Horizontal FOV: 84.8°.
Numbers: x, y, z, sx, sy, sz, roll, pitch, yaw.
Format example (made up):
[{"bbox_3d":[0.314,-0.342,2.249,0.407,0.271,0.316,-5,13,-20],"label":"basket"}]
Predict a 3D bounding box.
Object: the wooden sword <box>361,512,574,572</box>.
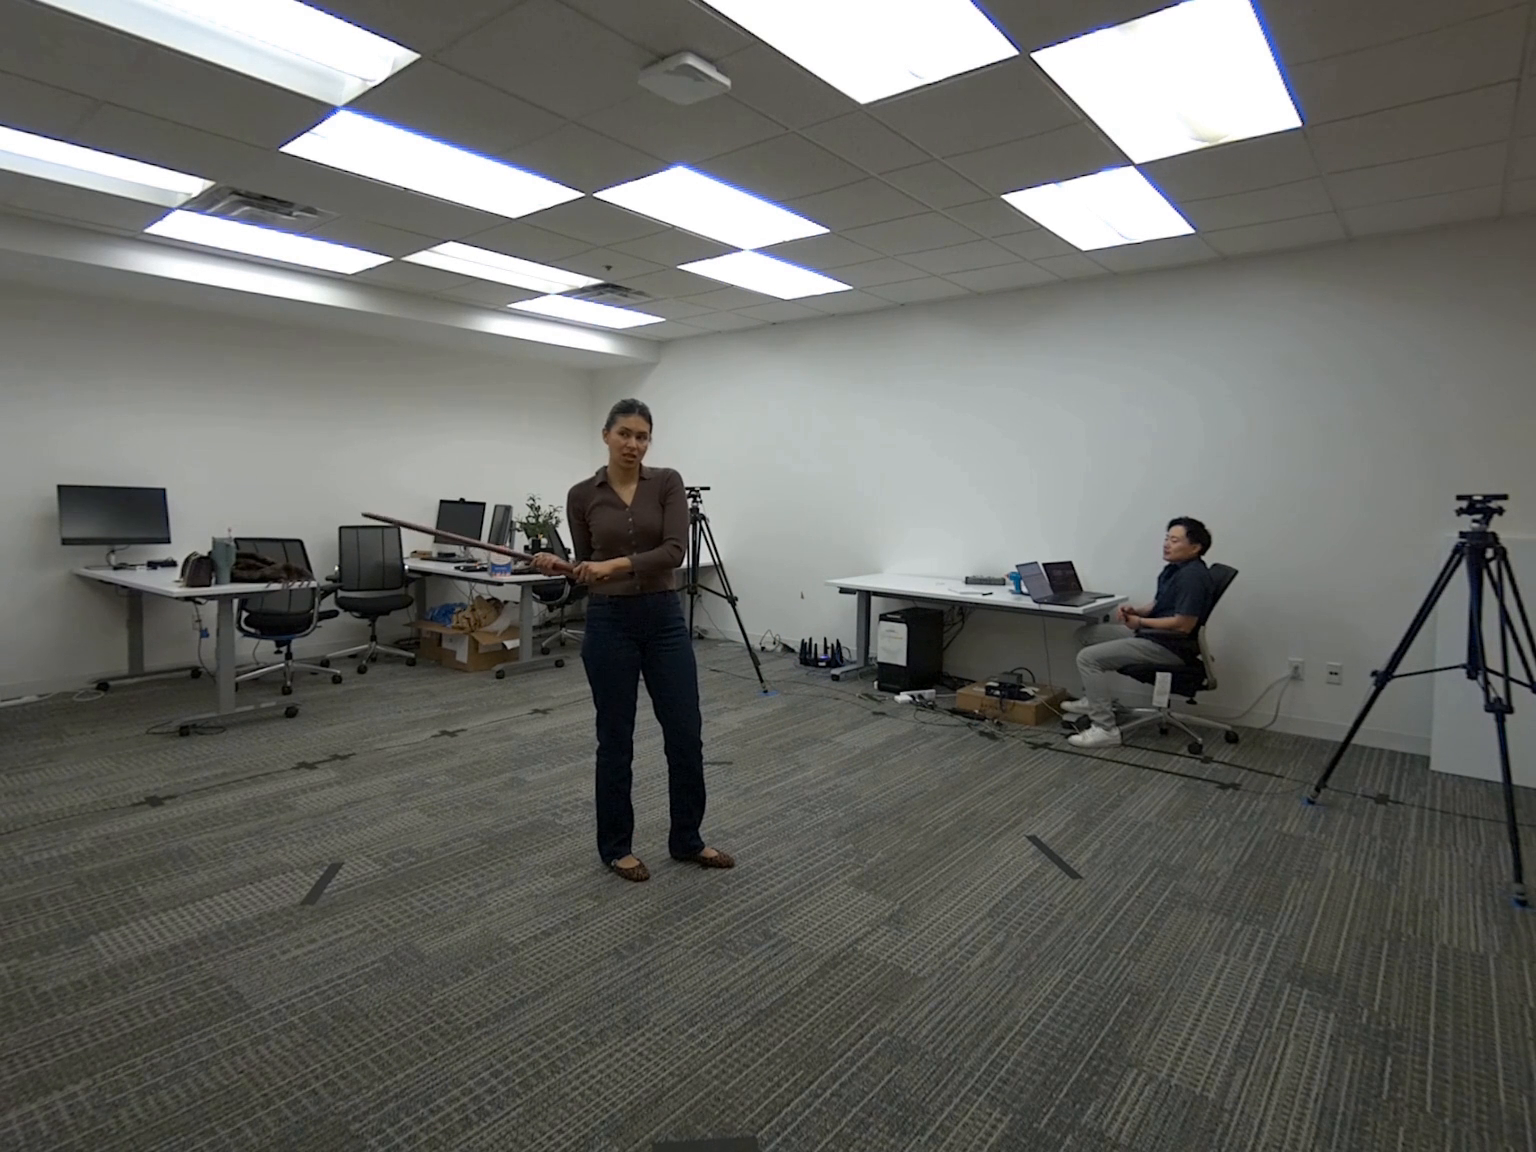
[{"bbox_3d":[-1.041,-0.100,2.907,1.050,0.023,0.051,14,41,20],"label":"wooden sword"}]
